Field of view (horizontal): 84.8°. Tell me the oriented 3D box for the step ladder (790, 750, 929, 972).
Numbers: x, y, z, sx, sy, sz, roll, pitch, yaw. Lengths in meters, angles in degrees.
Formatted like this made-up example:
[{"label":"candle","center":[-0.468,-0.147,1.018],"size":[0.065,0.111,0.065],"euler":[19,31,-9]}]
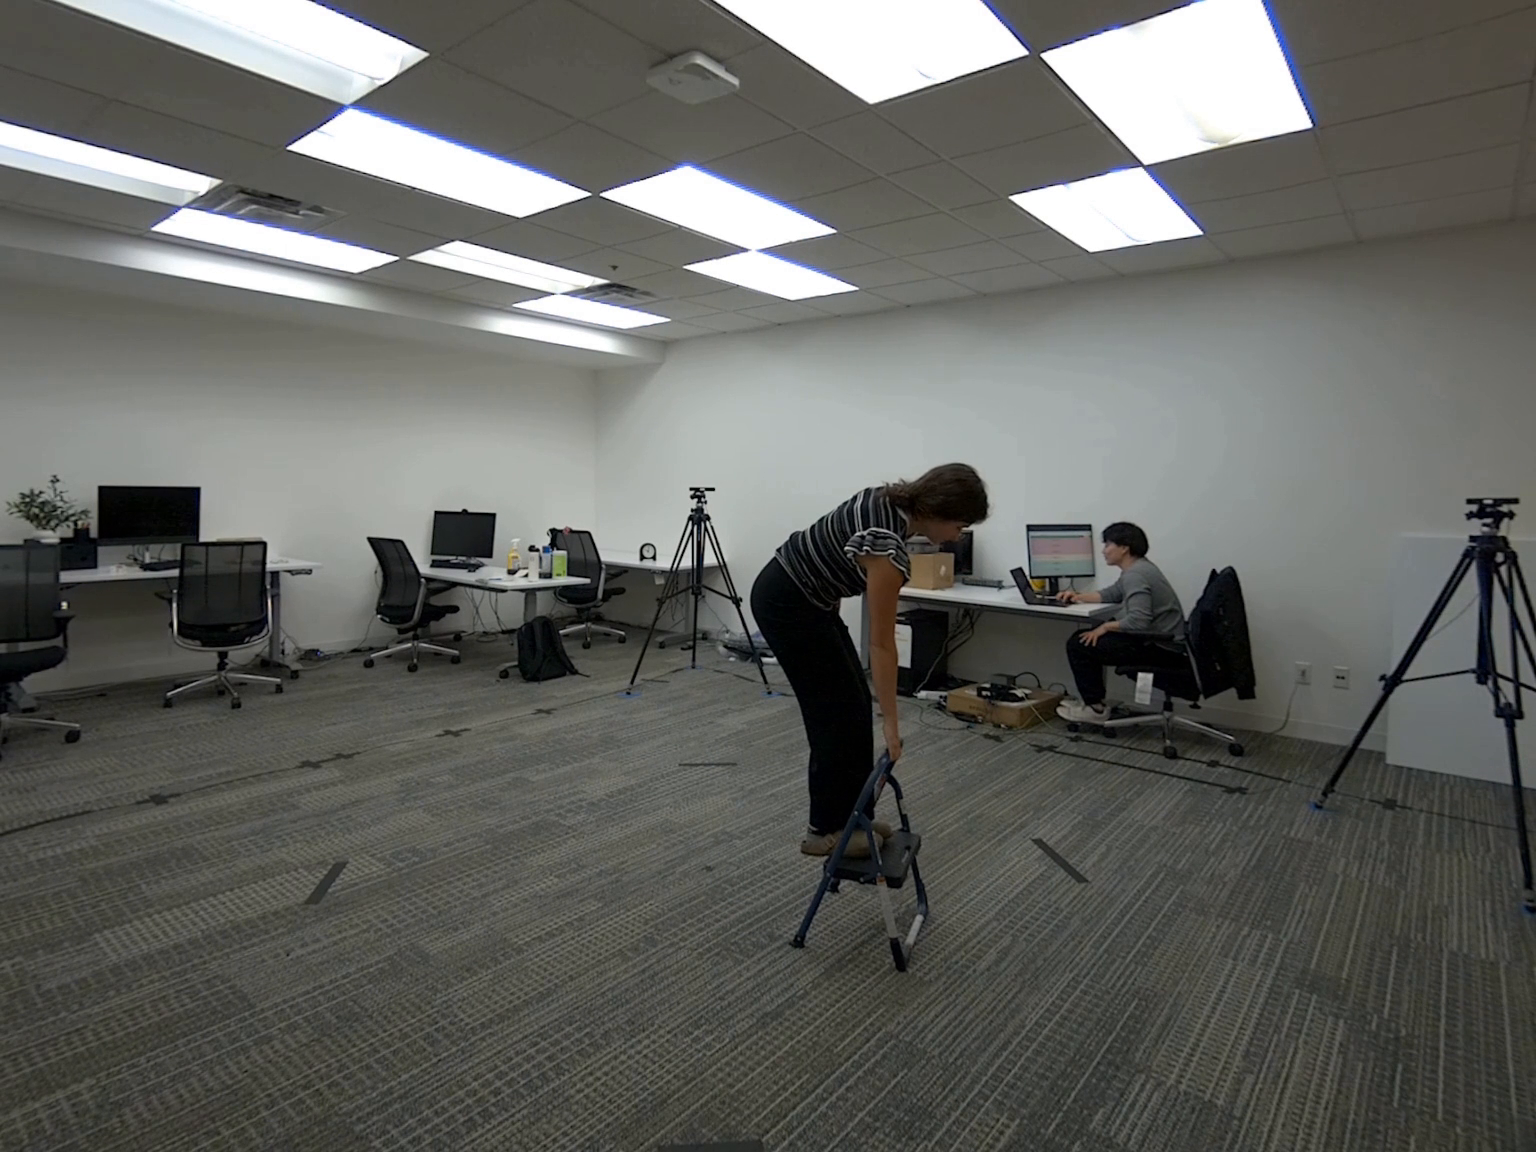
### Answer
[{"label":"step ladder","center":[0.304,0.817,2.701],"size":[0.357,0.604,0.422],"euler":[3,4,21]}]
